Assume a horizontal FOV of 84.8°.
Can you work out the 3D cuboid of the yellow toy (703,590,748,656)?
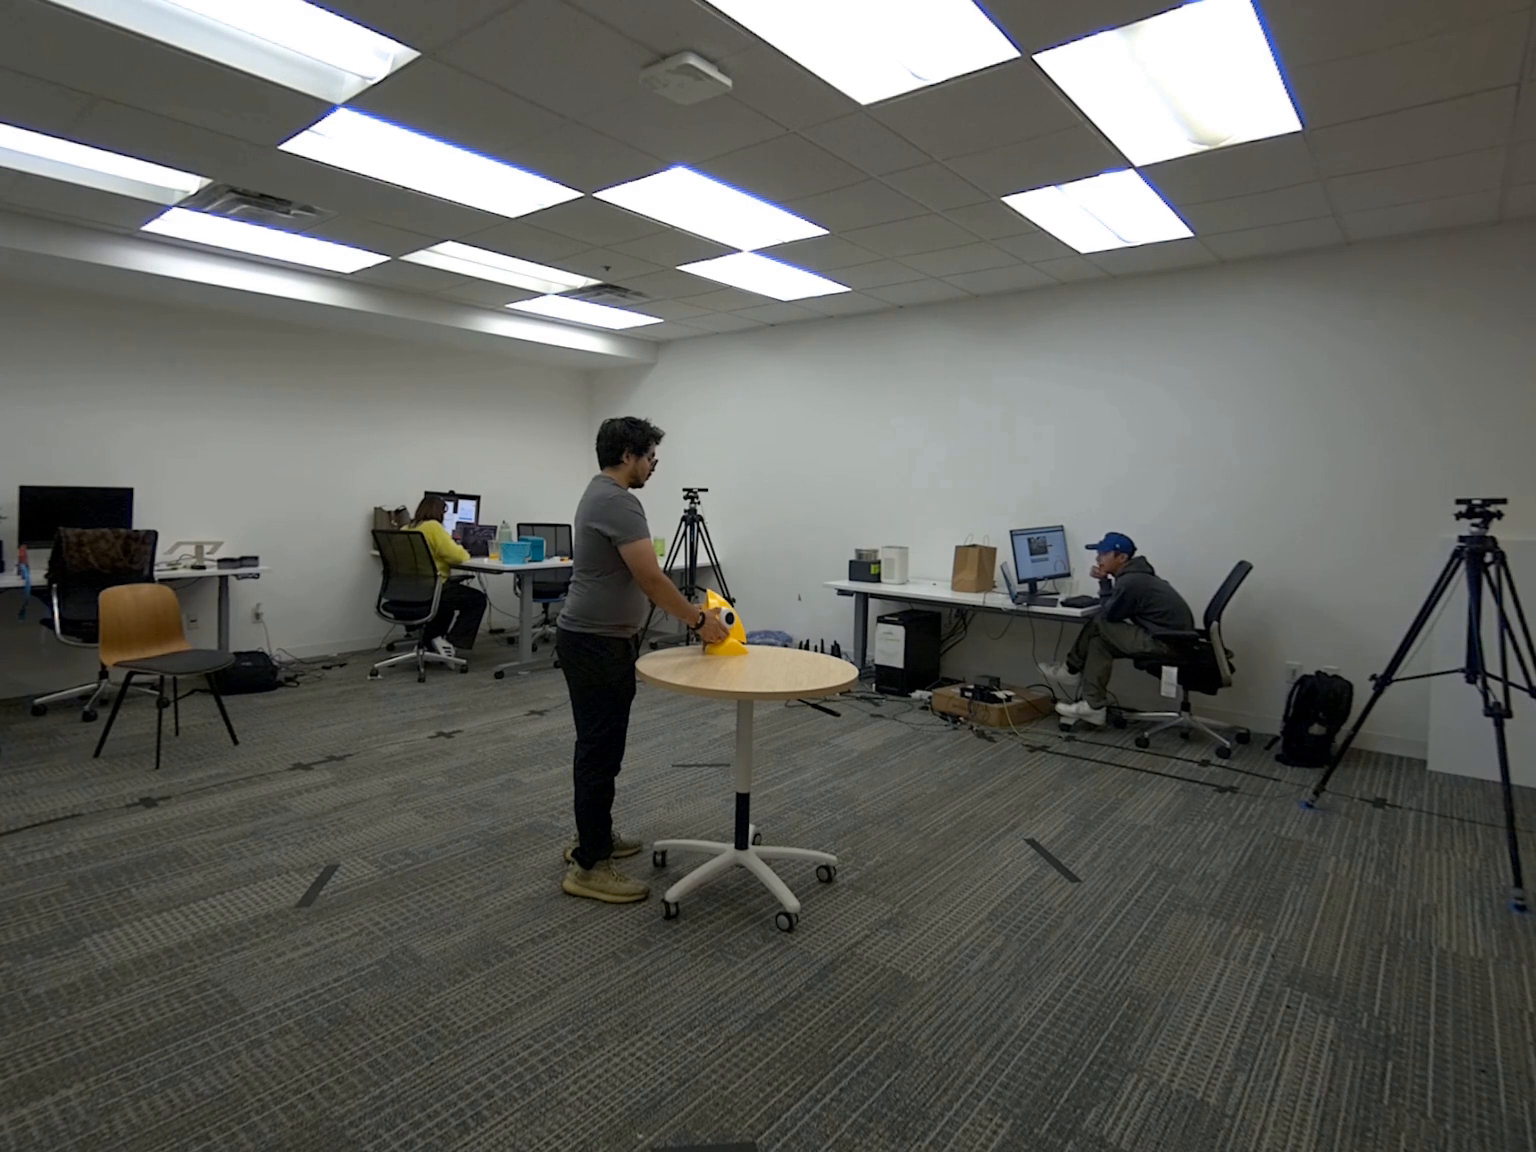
[{"bbox_3d":[-0.184,0.164,3.194,0.190,0.230,0.209,1,6,-15],"label":"yellow toy"}]
